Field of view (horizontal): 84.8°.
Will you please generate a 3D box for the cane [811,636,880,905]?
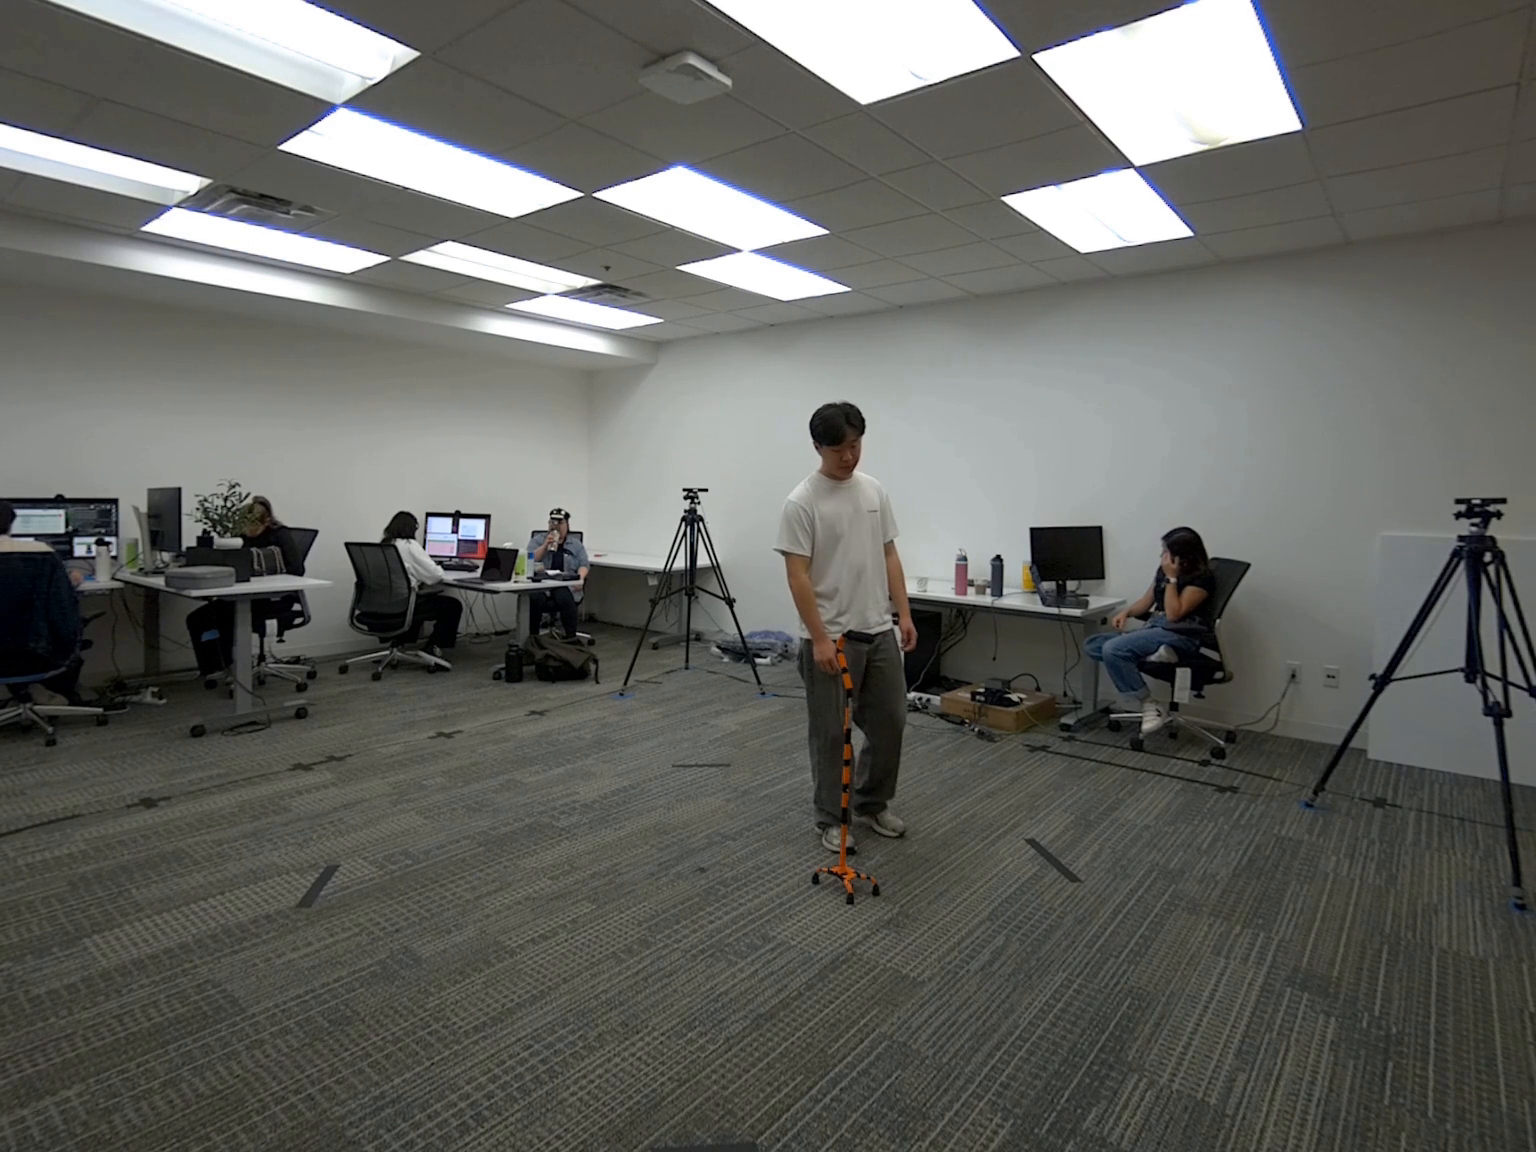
[{"bbox_3d":[0.290,0.630,2.964,0.147,0.906,0.213,-1,3,-38],"label":"cane"}]
